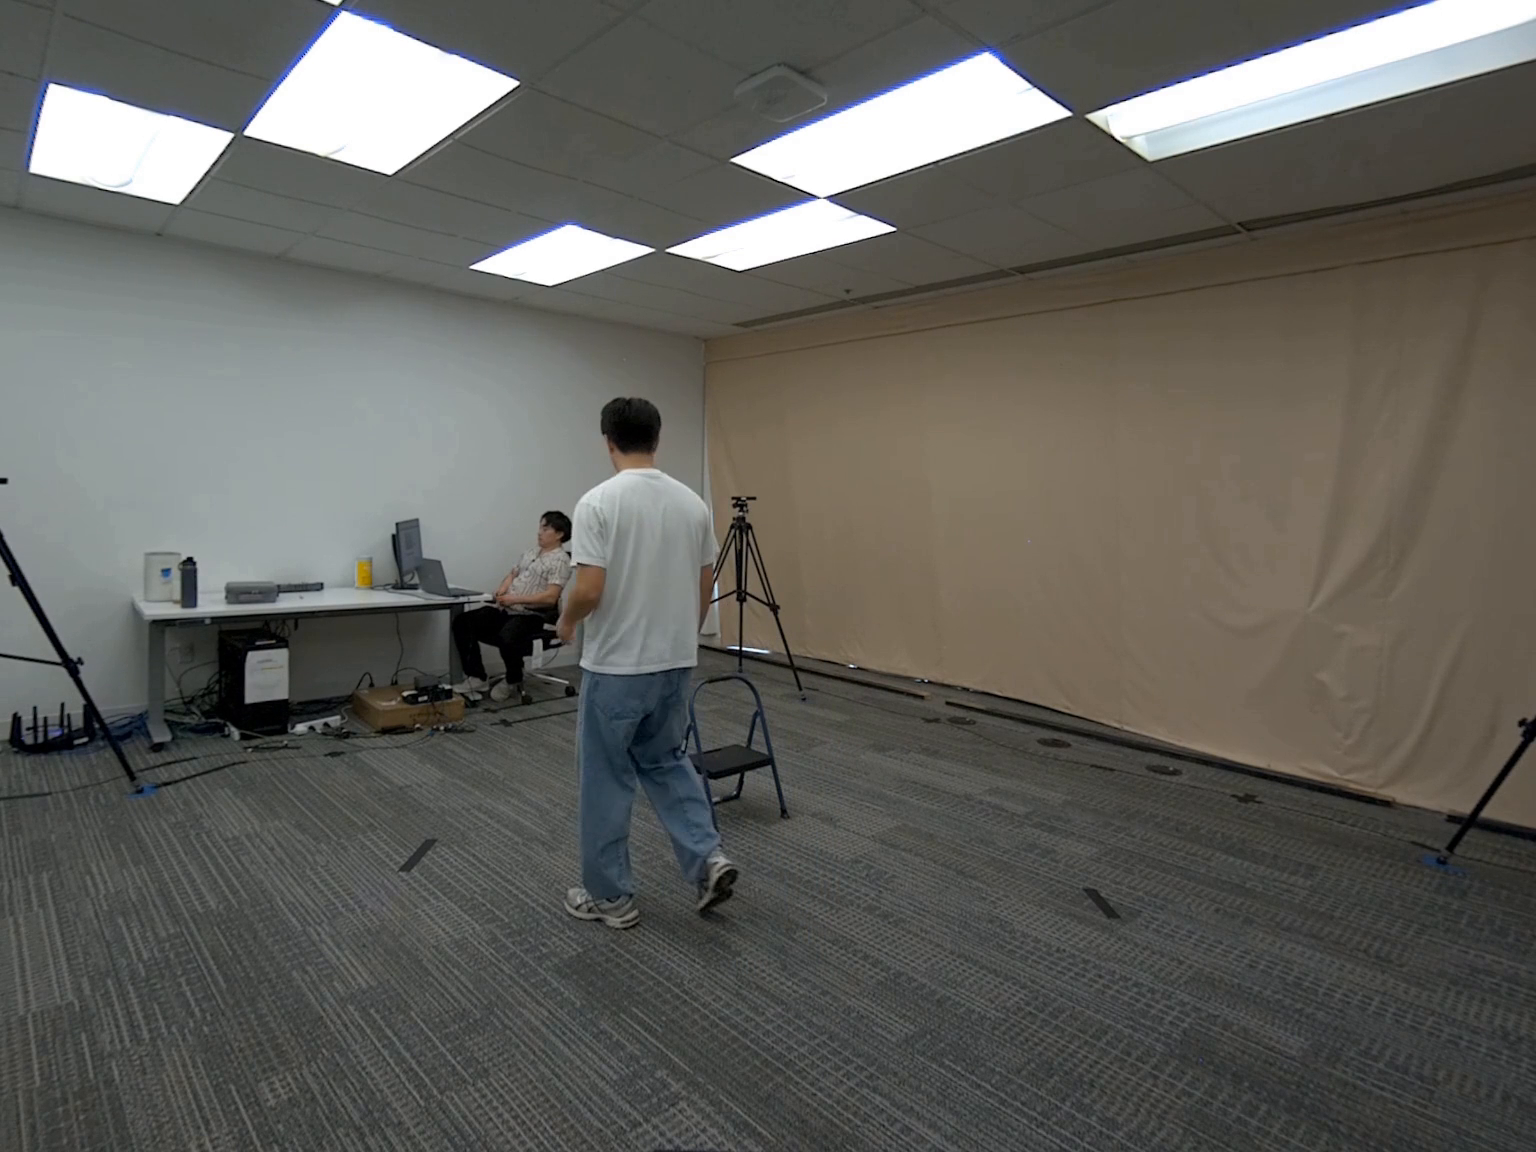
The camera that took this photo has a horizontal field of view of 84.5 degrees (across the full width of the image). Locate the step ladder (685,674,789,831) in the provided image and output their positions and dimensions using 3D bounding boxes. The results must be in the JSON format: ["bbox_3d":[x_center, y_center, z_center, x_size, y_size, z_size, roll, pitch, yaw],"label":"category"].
[{"bbox_3d":[-0.172,0.751,3.672,0.420,0.605,0.358,-1,4,-44],"label":"step ladder"}]
